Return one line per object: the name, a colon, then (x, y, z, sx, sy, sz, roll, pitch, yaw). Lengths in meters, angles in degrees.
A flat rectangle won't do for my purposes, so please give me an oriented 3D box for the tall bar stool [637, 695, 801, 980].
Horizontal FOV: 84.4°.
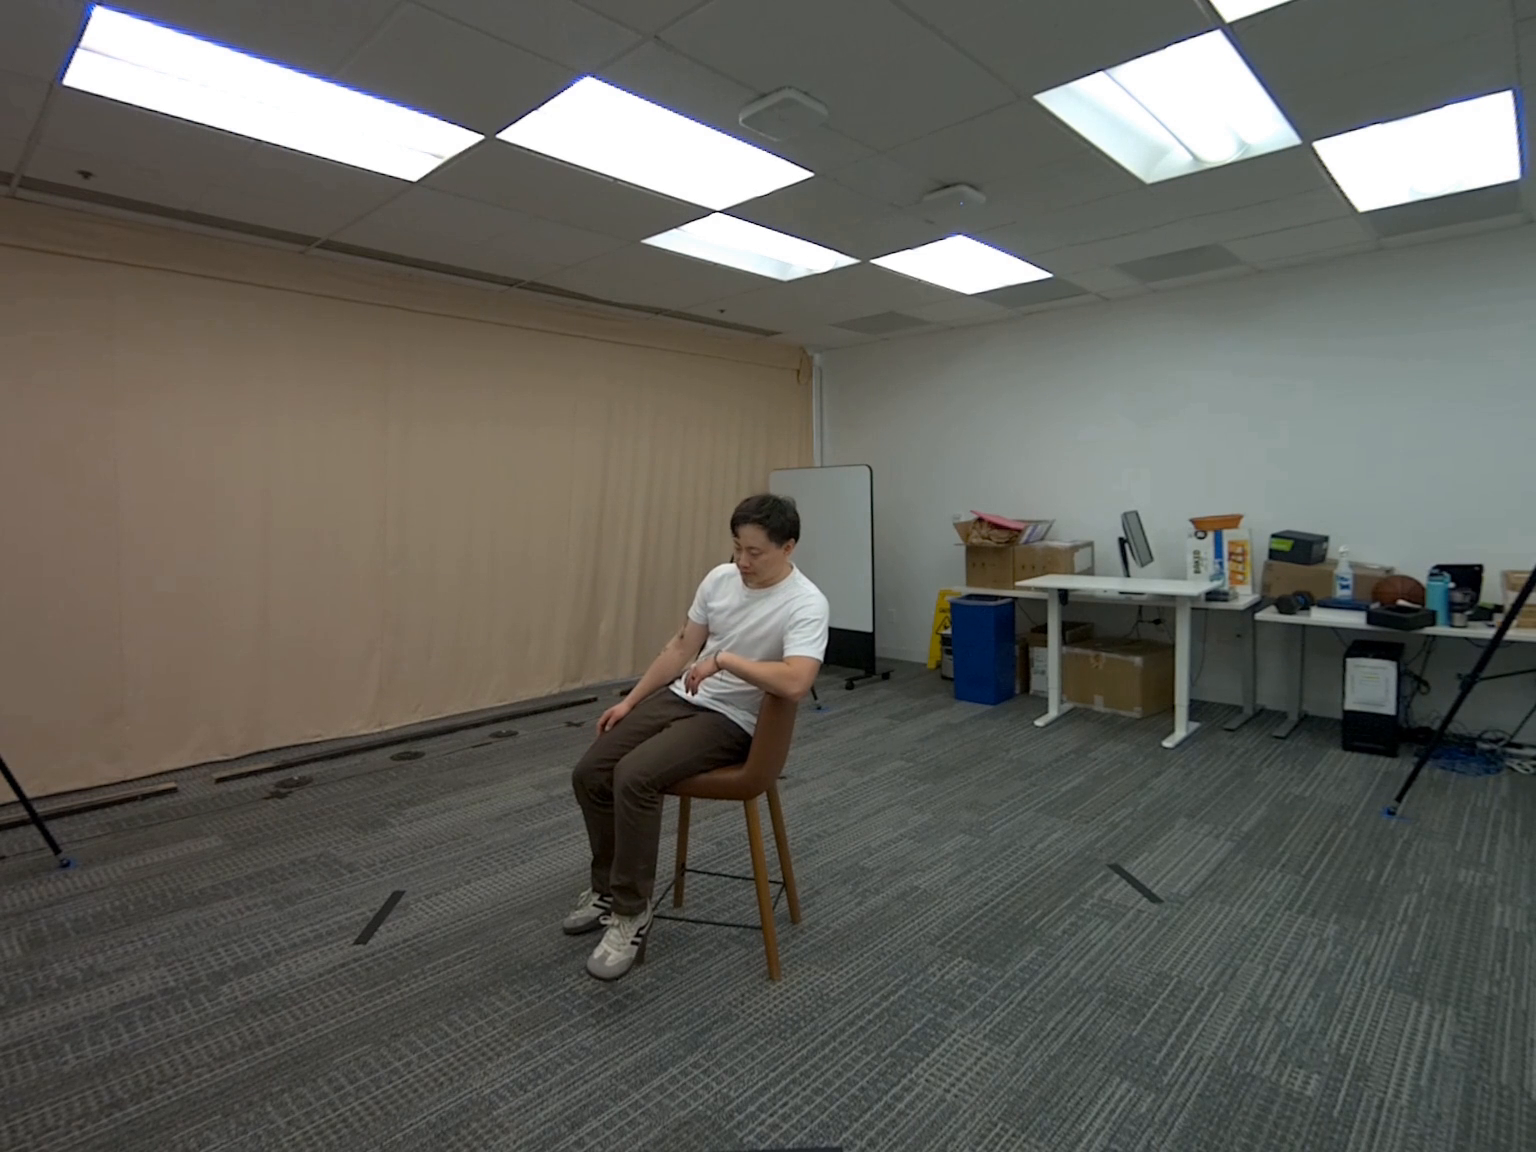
tall bar stool: (-0.146, 0.741, 2.669, 0.475, 0.887, 0.450, 2, 5, 14)
